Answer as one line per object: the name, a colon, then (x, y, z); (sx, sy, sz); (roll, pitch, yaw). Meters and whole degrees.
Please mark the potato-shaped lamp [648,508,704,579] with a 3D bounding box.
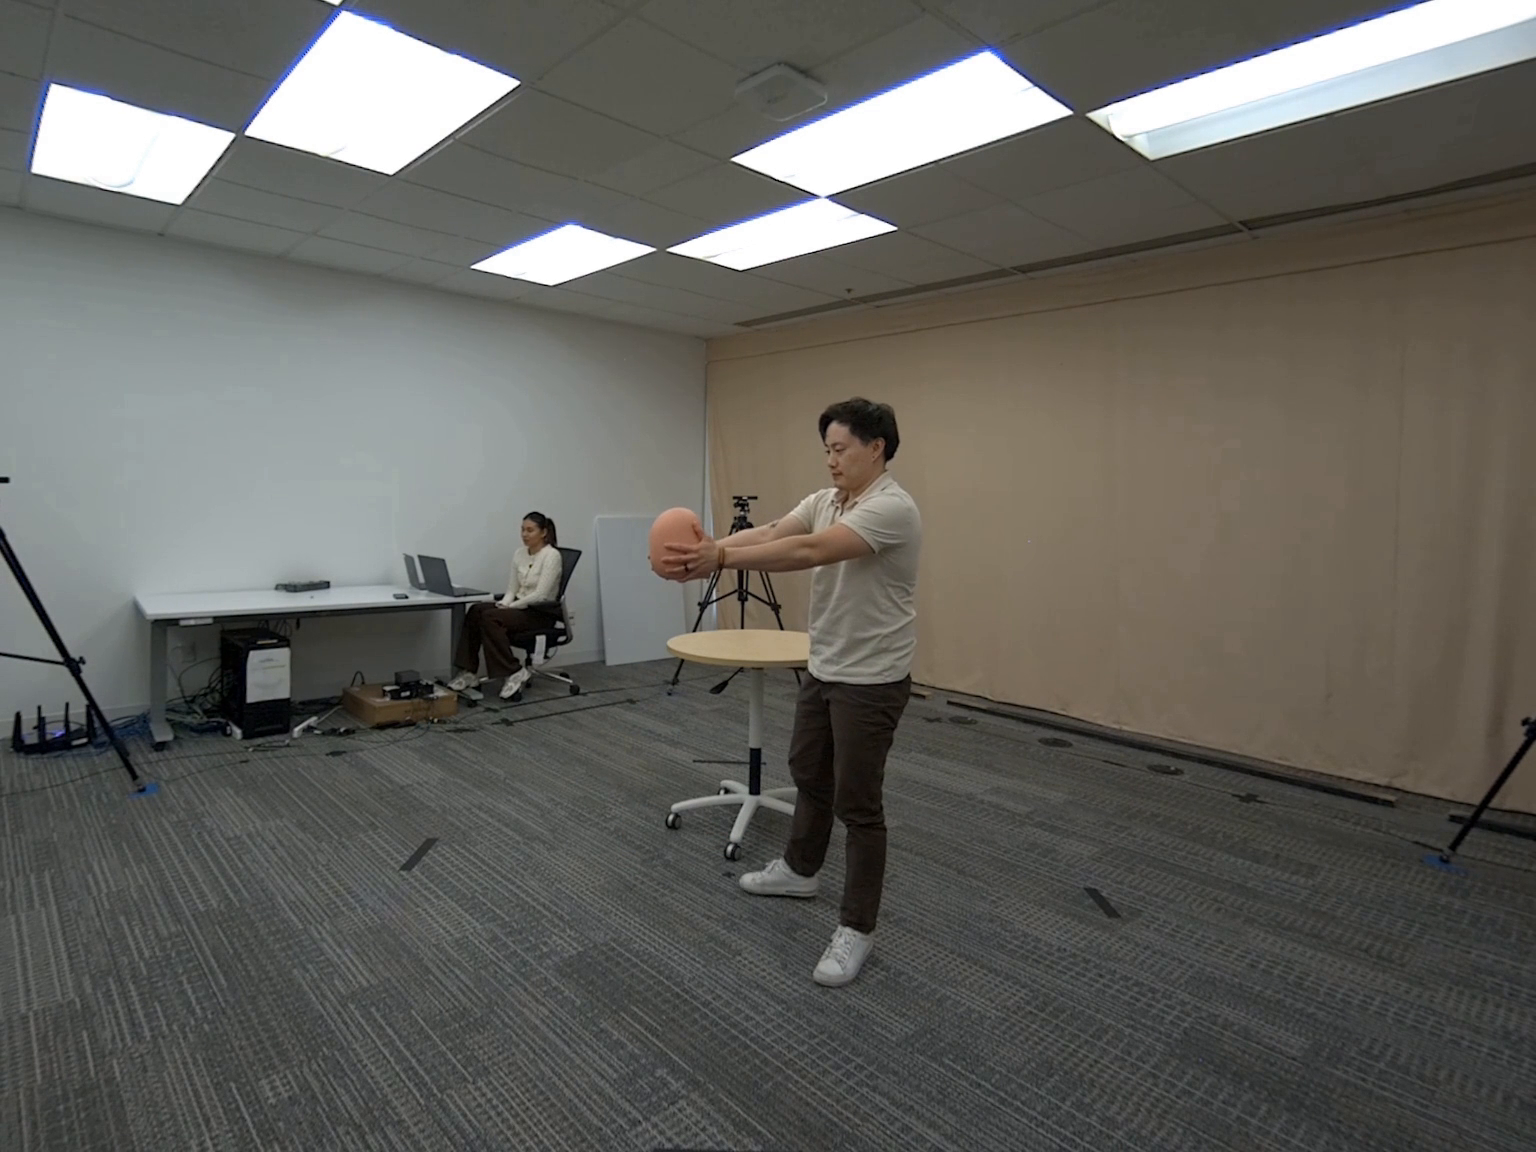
potato-shaped lamp: (-0.243, -0.088, 2.325); (0.168, 0.198, 0.168); (0, 3, -23)
